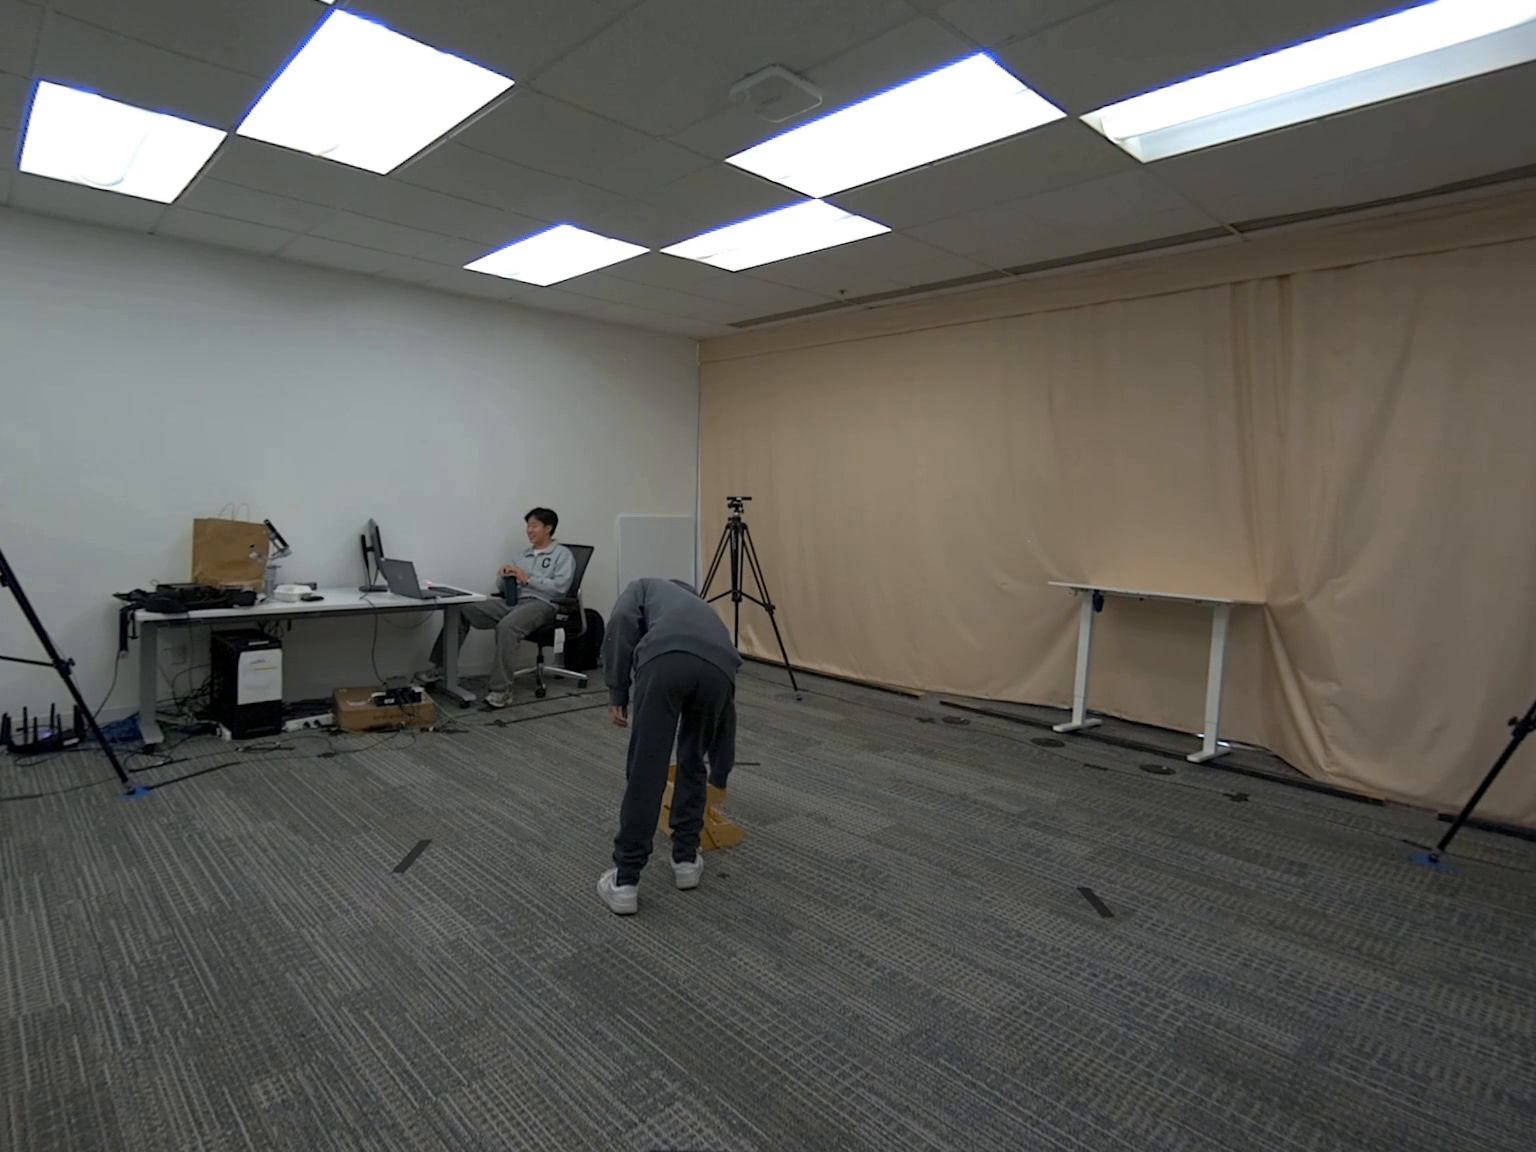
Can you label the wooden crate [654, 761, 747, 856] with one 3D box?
[{"bbox_3d":[-0.303,0.937,3.463,0.296,0.272,0.332,-1,5,-30],"label":"wooden crate"}]
